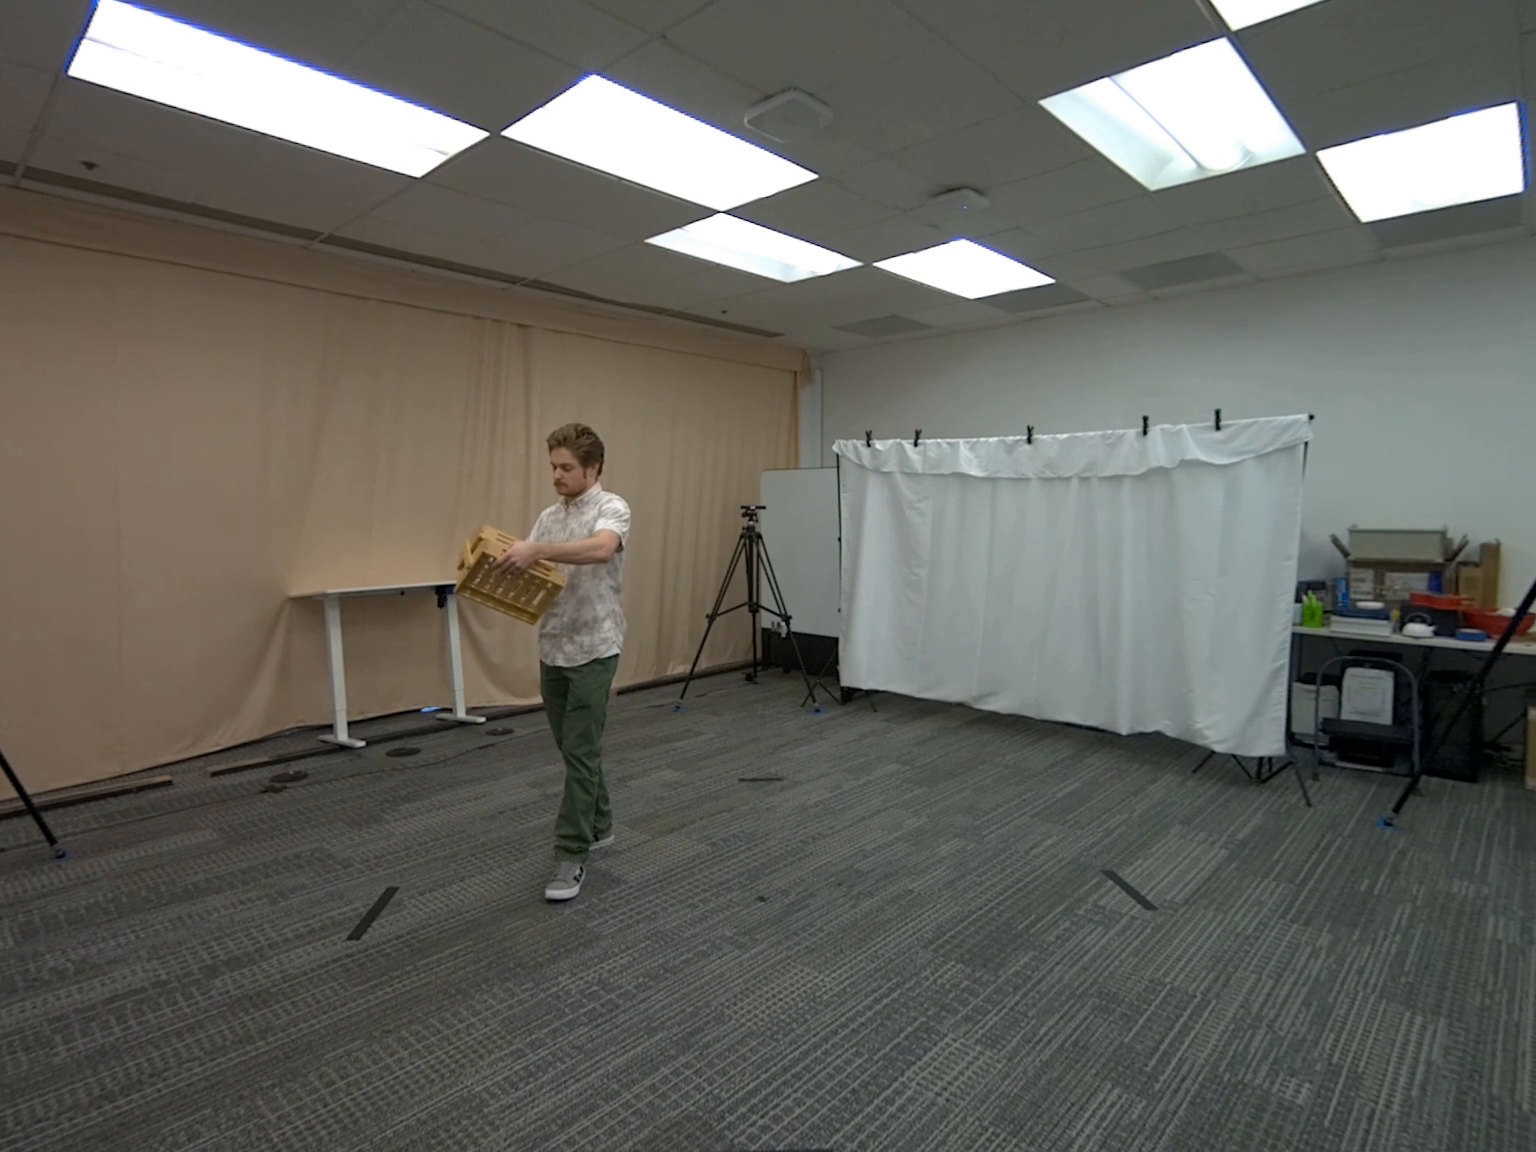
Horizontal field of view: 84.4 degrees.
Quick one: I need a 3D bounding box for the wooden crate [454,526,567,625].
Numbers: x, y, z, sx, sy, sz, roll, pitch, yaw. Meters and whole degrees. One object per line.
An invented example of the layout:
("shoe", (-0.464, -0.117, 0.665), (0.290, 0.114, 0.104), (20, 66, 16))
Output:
("wooden crate", (-0.910, -0.031, 2.984), (0.315, 0.304, 0.279), (25, 36, -25))
